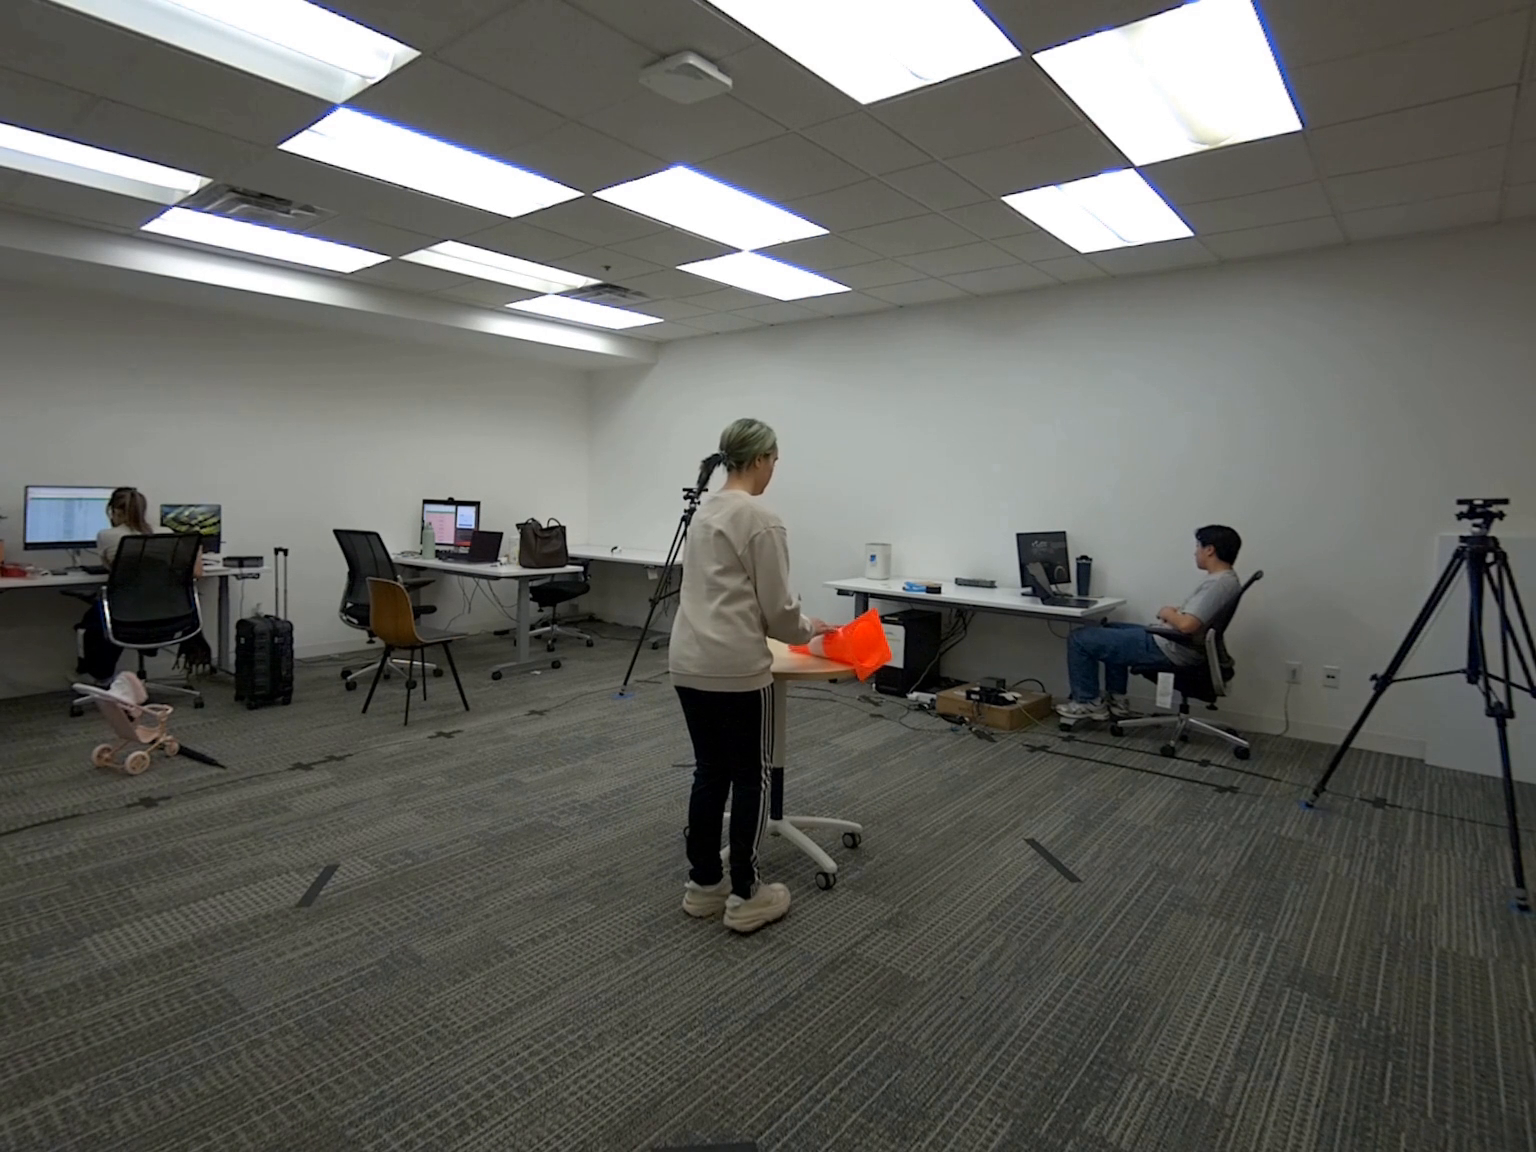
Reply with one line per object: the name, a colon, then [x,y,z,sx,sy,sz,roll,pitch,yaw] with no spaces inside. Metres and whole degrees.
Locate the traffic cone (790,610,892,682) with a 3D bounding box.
traffic cone: [0.207,0.247,3.095,0.394,0.202,0.200,-8,16,45]
